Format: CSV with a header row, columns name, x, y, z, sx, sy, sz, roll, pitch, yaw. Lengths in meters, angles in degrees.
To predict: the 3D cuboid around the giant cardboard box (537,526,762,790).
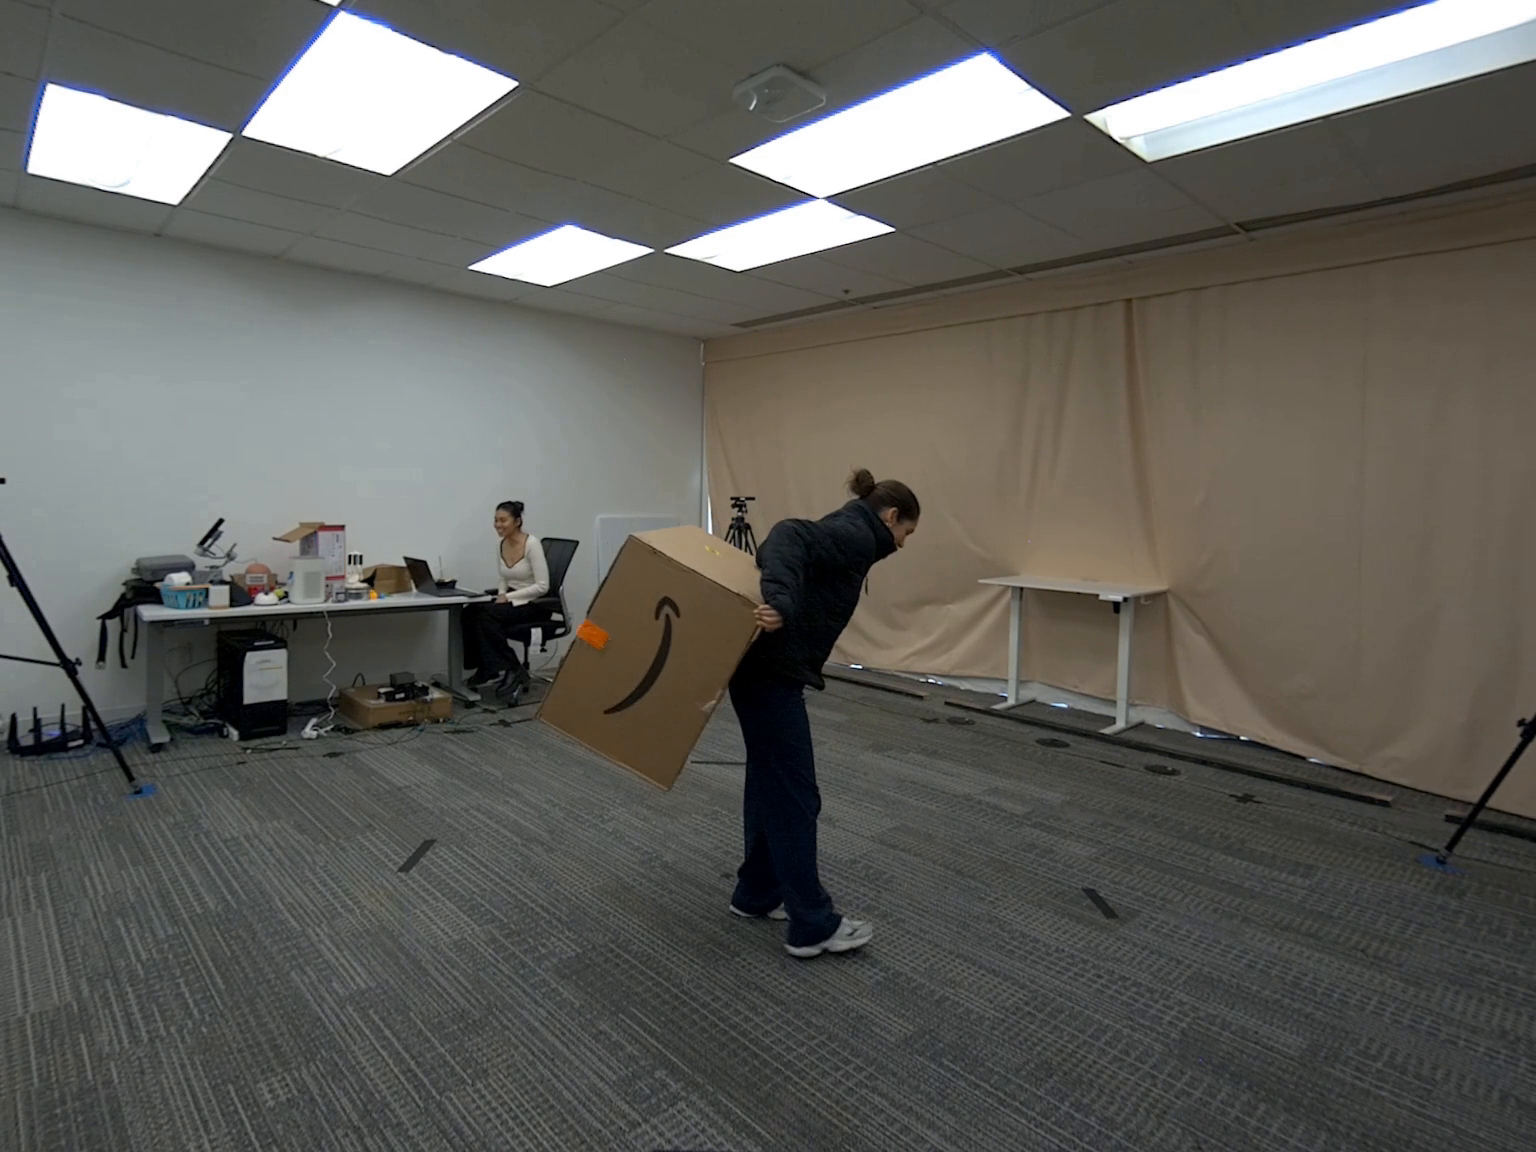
name,x,y,z,sx,sy,sz,roll,pitch,yaw
giant cardboard box,-0.286,0.200,2.752,0.428,0.576,1.024,28,6,2
